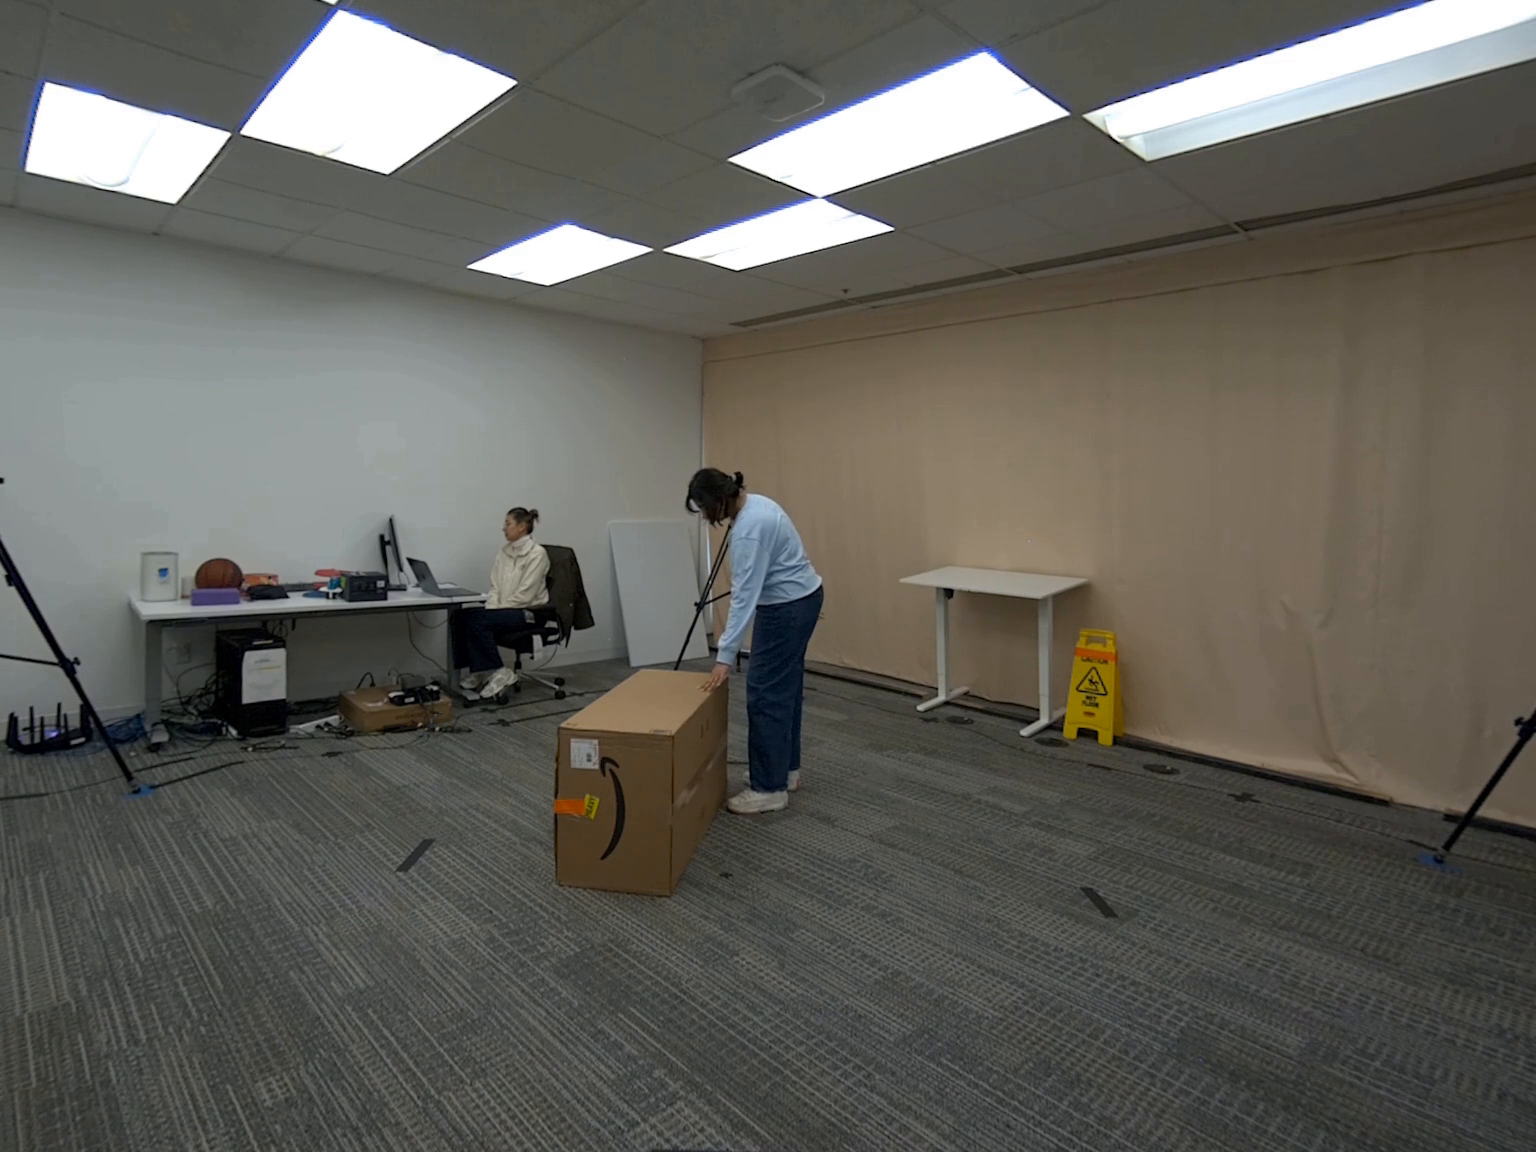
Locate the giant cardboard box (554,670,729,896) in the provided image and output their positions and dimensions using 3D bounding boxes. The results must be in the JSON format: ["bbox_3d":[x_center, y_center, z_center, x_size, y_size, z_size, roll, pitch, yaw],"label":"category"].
[{"bbox_3d":[-0.477,0.773,3.441,0.429,0.576,1.021,2,5,8],"label":"giant cardboard box"}]
